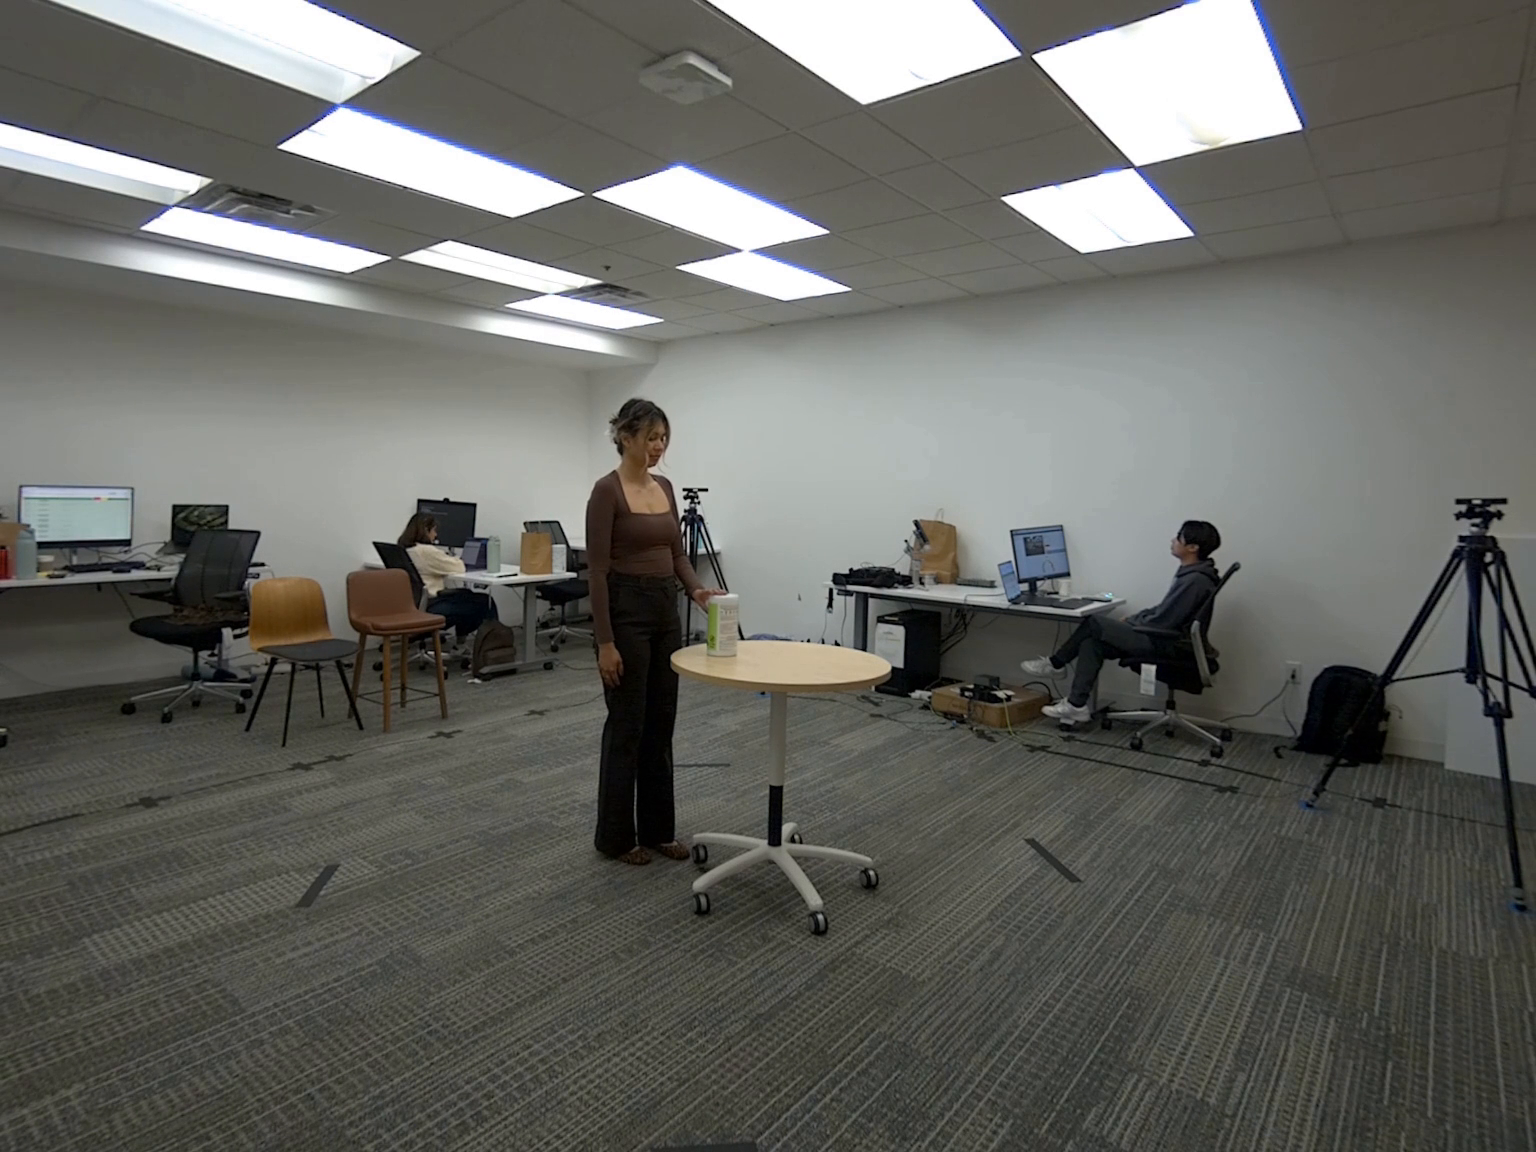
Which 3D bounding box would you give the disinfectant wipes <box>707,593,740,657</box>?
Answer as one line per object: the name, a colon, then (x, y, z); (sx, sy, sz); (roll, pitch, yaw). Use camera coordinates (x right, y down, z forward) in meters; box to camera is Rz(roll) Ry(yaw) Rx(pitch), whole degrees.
disinfectant wipes: (-0.173, 0.174, 3.033); (0.118, 0.217, 0.118); (0, 2, -2)
